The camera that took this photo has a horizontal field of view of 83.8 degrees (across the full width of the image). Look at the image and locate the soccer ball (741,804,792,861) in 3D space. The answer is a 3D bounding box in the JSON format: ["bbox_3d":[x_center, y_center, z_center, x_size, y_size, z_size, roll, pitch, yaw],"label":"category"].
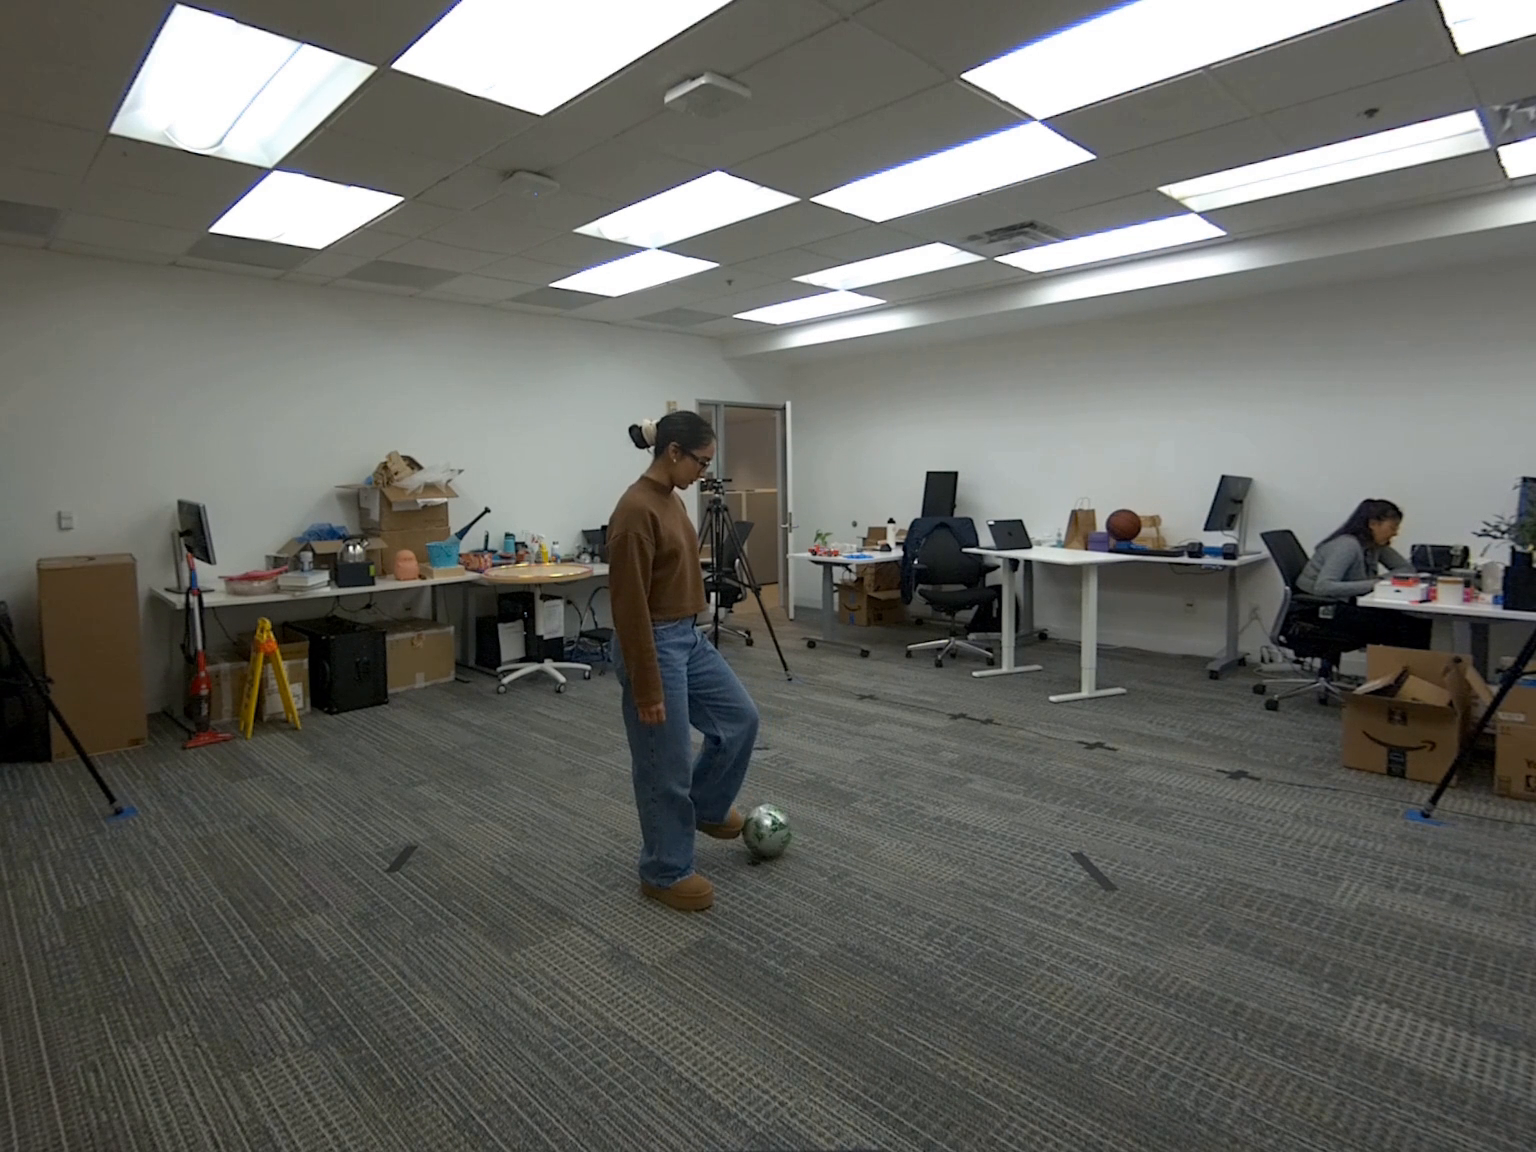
[{"bbox_3d":[0.005,0.939,3.163,0.187,0.187,0.188,-1,5,-2],"label":"soccer ball"}]
